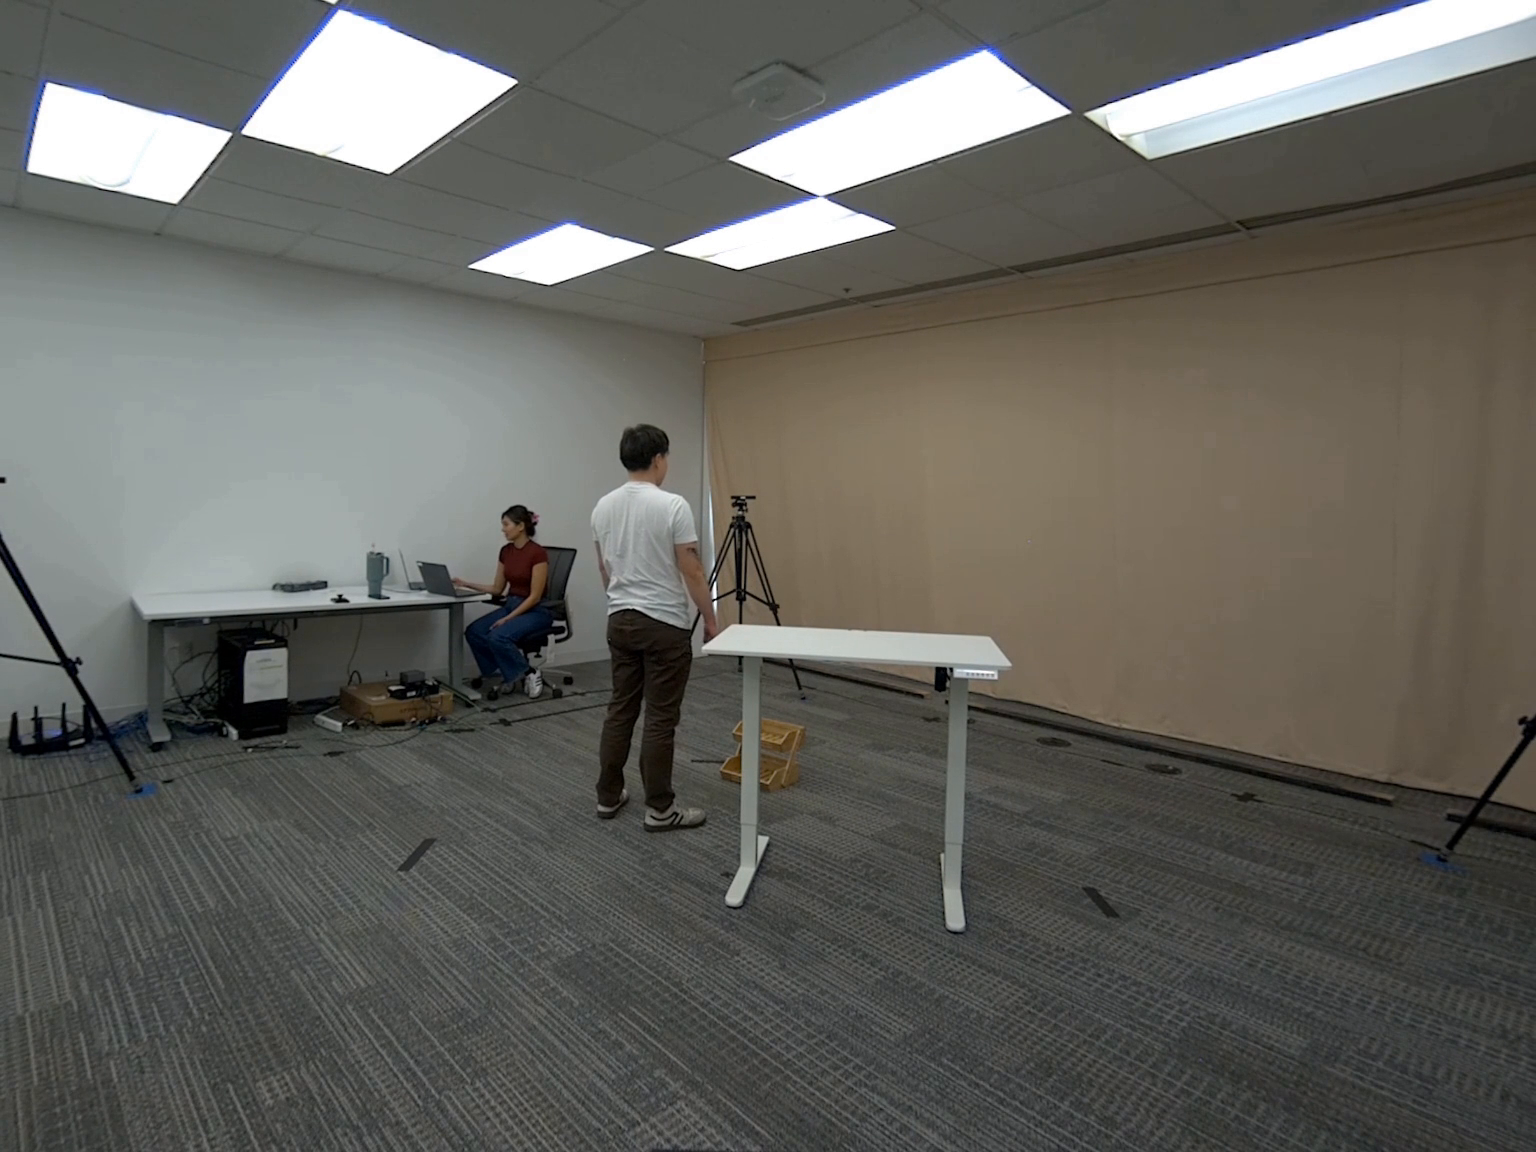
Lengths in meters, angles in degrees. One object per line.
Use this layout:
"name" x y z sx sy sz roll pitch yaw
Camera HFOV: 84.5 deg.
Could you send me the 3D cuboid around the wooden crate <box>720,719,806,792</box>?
"wooden crate" -0.038 0.874 4.187 0.332 0.273 0.295 5 4 37
